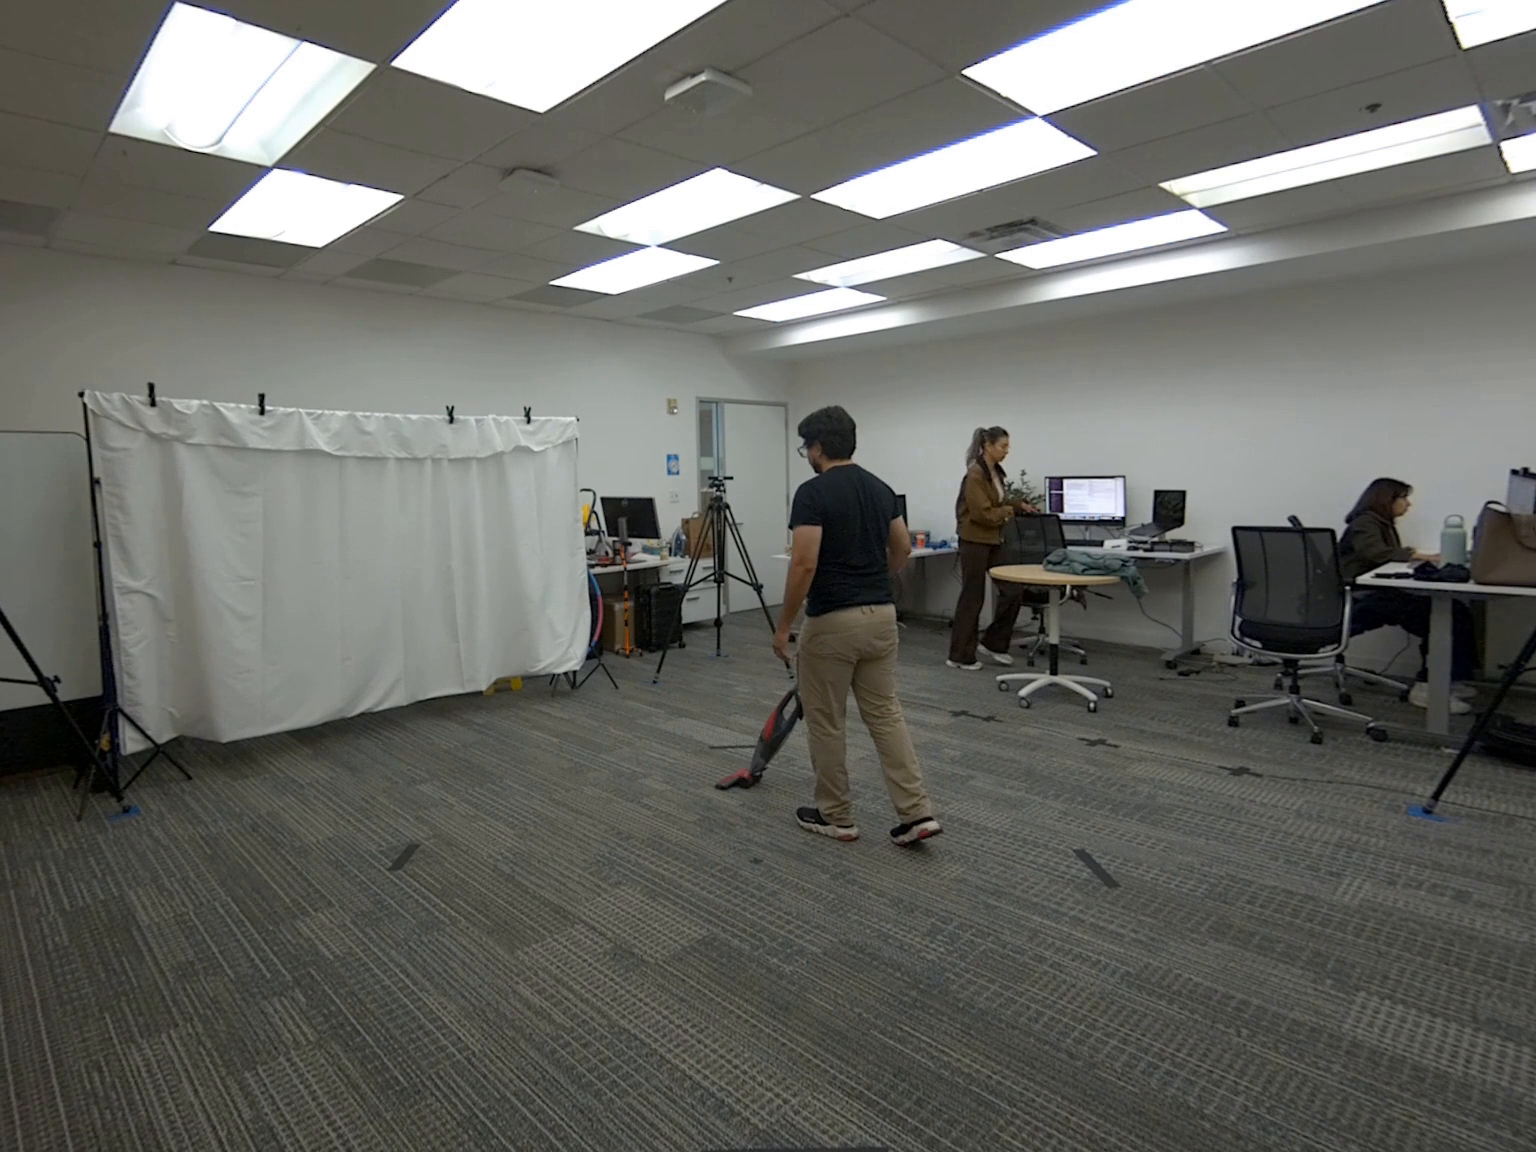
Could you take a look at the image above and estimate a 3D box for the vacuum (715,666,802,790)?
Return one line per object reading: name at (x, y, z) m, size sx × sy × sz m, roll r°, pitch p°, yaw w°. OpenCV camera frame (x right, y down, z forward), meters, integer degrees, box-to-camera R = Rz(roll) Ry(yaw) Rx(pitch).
vacuum at (0.128, 0.537, 3.727) m, size 0.148 × 1.044 × 0.246 m, roll 42°, pitch 23°, yaw 23°
